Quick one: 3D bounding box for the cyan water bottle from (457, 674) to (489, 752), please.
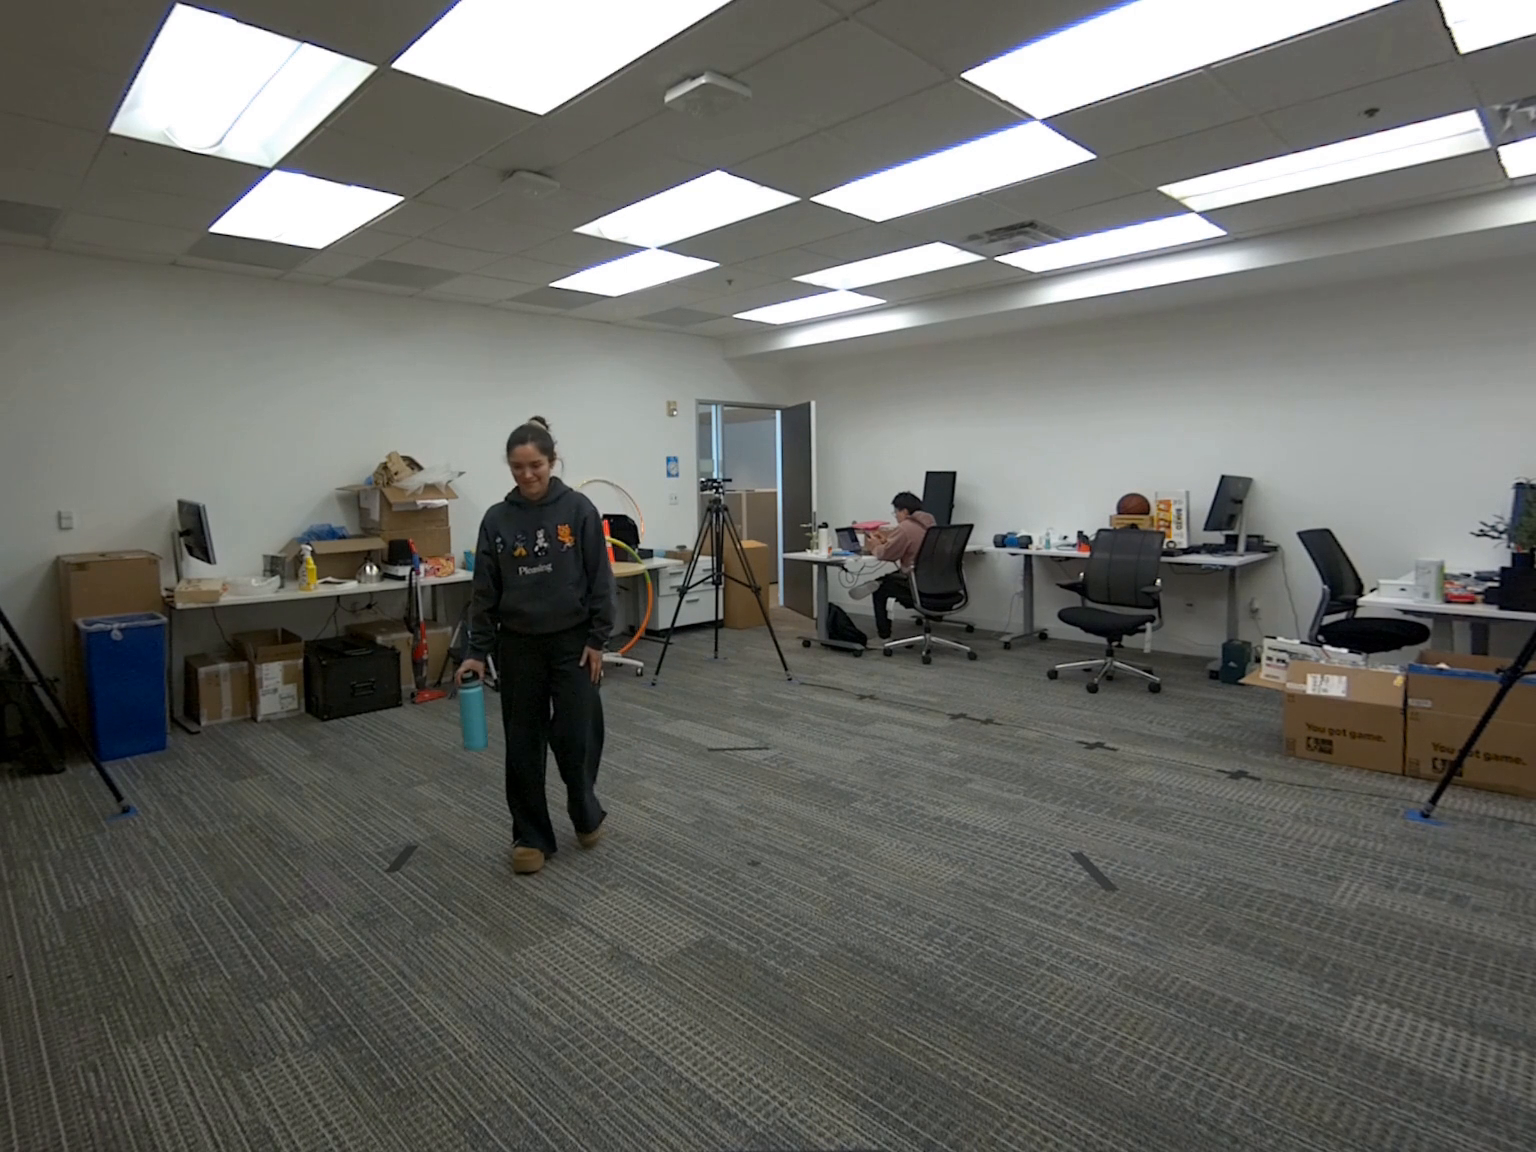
[{"bbox_3d":[-1.057,0.481,3.093,0.092,0.282,0.093,-3,5,-1],"label":"cyan water bottle"}]
